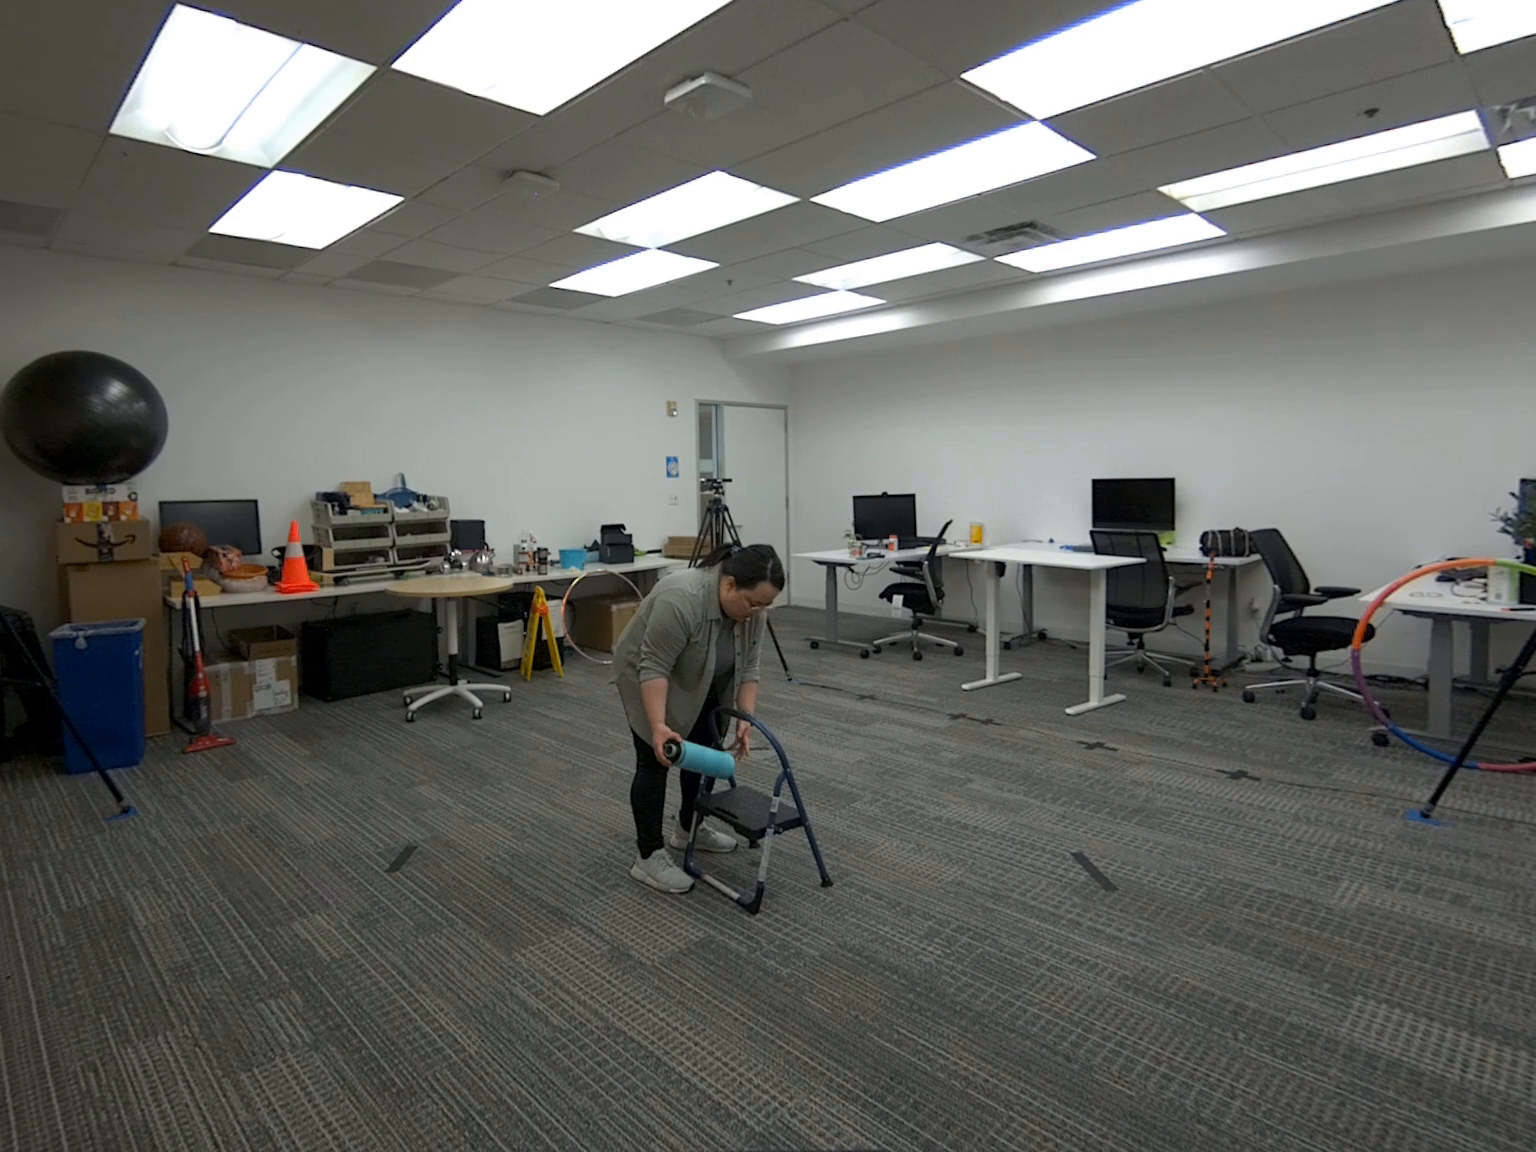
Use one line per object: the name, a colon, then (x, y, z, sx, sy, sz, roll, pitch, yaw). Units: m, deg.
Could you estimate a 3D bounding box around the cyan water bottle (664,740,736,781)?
cyan water bottle: (-0.236, 0.606, 2.855, 0.095, 0.093, 0.273, 4, -17, 45)
